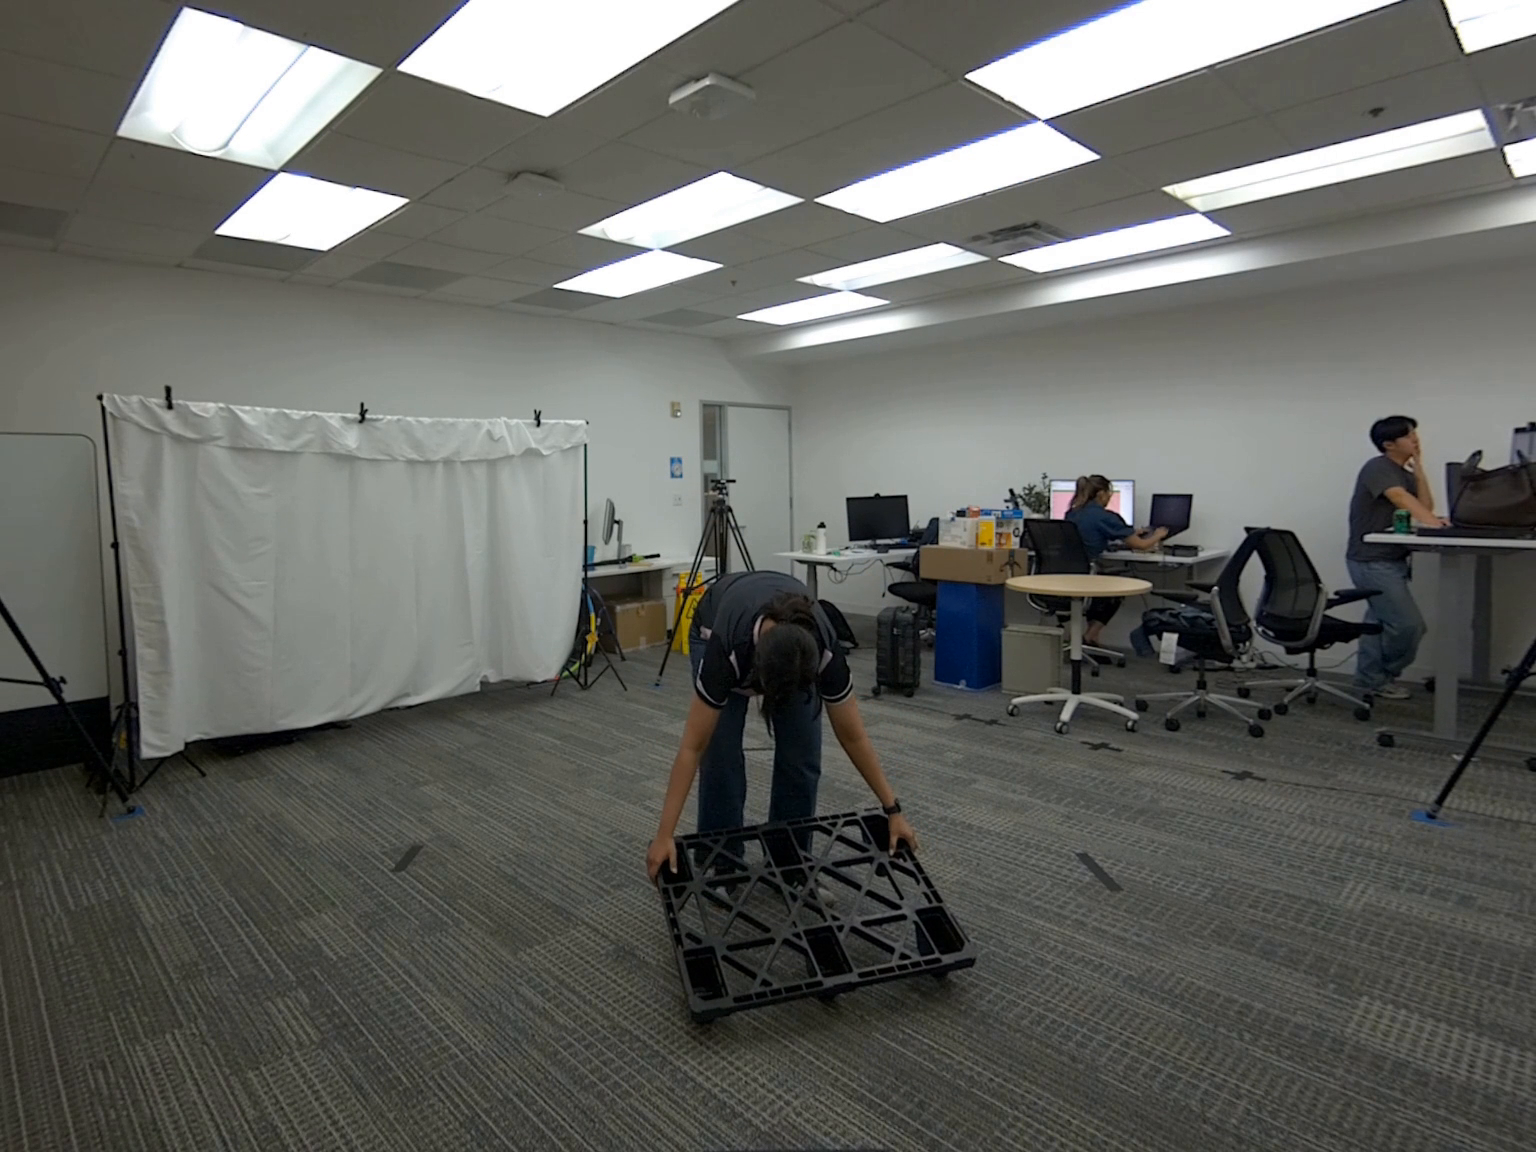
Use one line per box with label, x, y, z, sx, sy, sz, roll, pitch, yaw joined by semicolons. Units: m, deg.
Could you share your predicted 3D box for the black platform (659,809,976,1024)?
black platform;0.098;0.975;2.472;0.794;0.141;0.625;-3;25;-16
